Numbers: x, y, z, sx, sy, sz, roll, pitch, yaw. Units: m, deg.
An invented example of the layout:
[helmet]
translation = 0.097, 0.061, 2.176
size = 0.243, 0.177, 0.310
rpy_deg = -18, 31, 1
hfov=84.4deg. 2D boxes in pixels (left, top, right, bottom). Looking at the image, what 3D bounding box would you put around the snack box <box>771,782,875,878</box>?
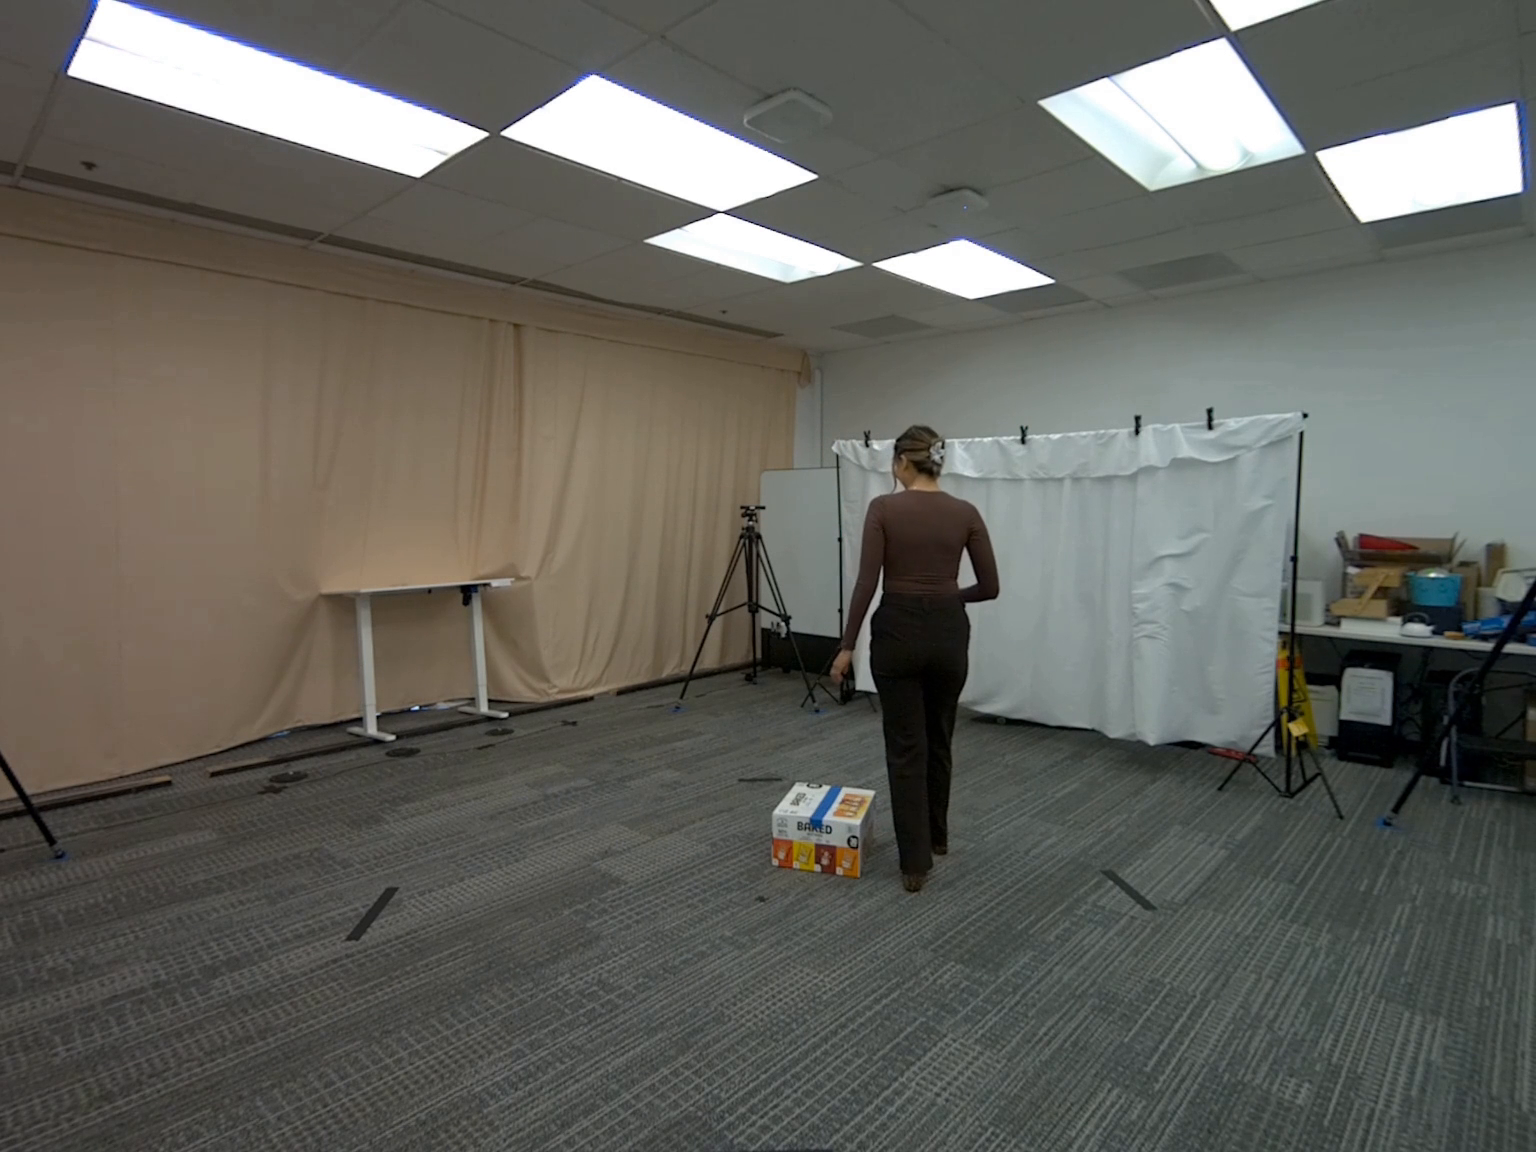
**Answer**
[snack box]
translation = 0.238, 1.010, 3.388
size = 0.347, 0.205, 0.398
rpy_deg = 2, 5, 18
